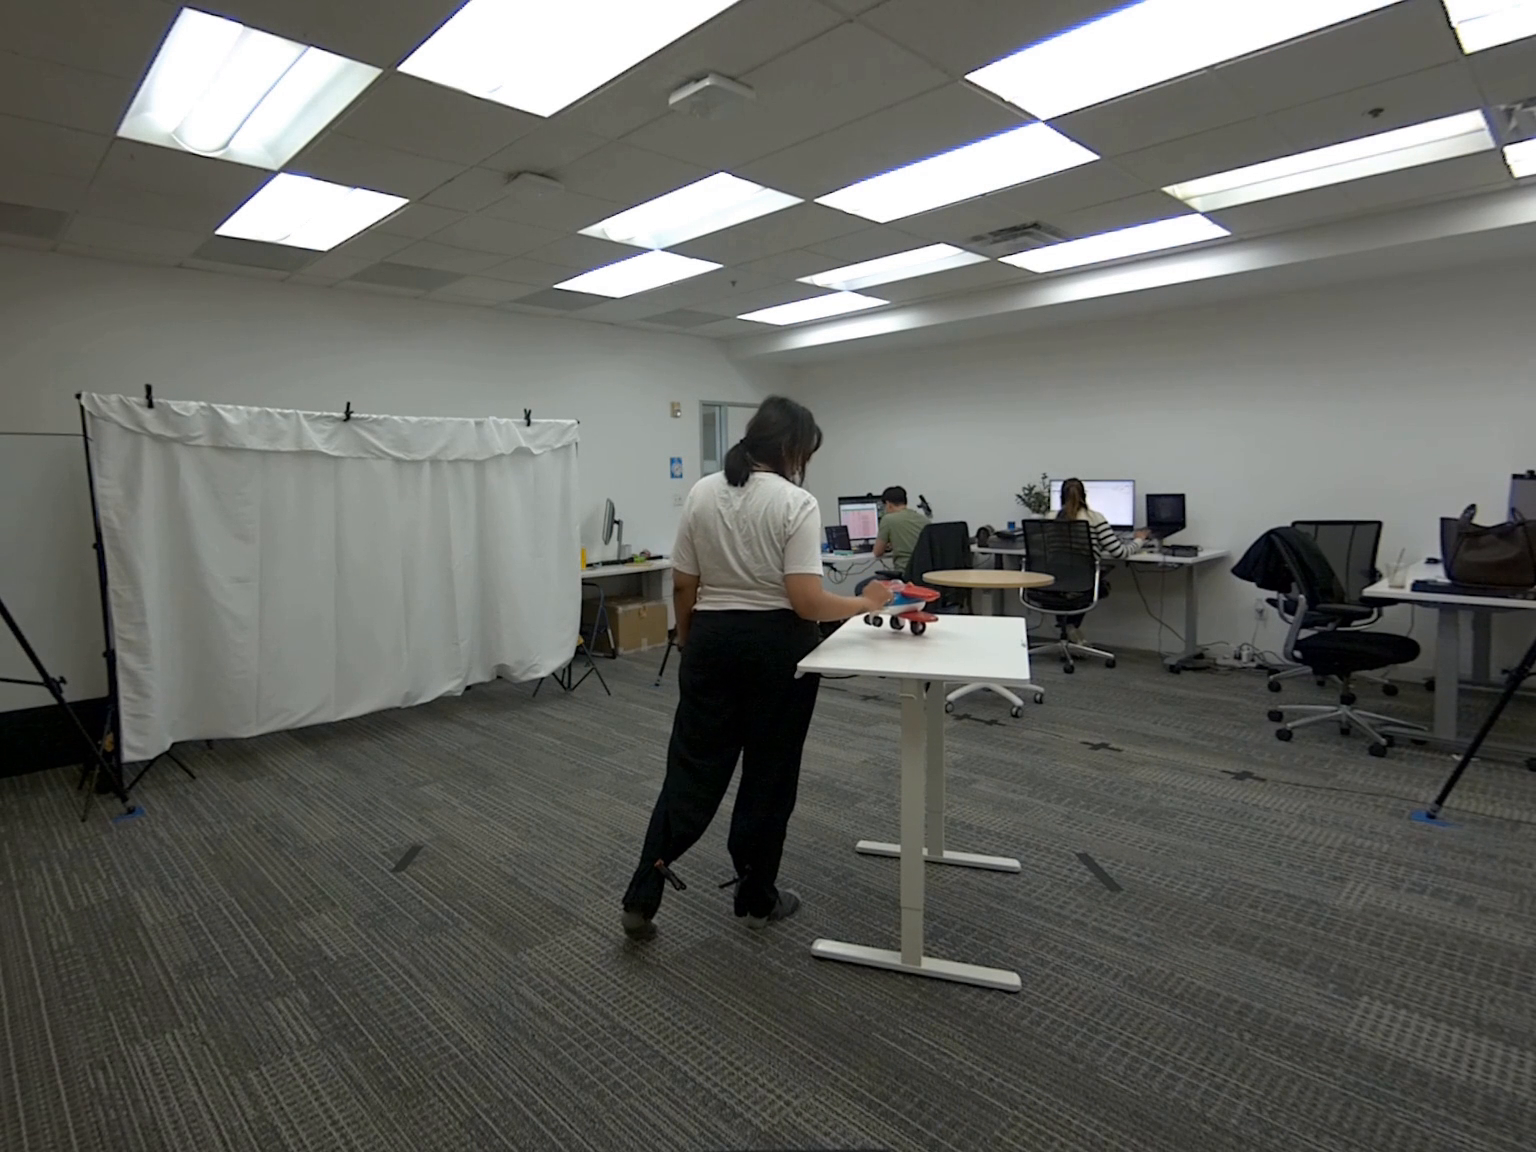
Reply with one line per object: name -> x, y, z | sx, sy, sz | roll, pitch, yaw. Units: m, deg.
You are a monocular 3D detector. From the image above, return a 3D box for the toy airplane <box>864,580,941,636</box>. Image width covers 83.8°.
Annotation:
toy airplane -> 0.424, 0.101, 2.752 | 0.257, 0.156, 0.253 | 13, -1, 21
